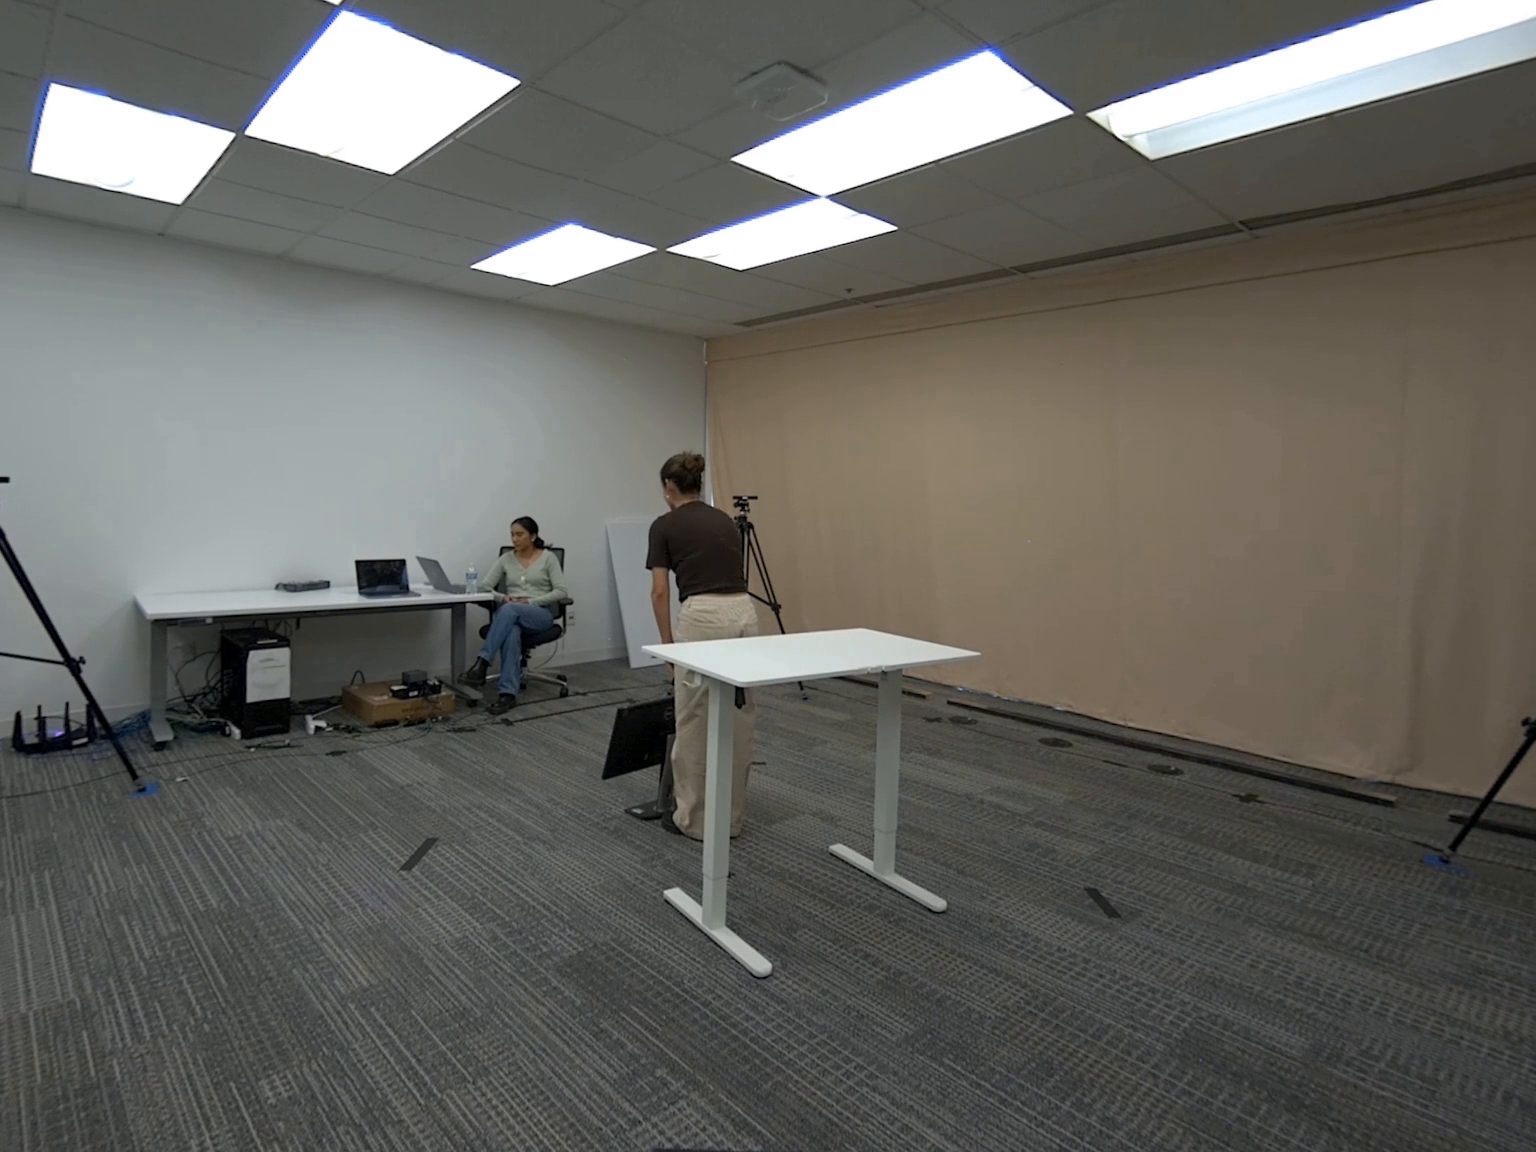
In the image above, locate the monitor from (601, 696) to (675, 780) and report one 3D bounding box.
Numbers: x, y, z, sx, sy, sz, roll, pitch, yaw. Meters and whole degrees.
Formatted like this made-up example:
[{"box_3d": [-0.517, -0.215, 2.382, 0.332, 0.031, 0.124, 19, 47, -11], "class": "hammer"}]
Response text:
[{"box_3d": [-0.471, 0.786, 3.714, 0.192, 0.520, 0.527, 8, 8, 41], "class": "monitor"}]
